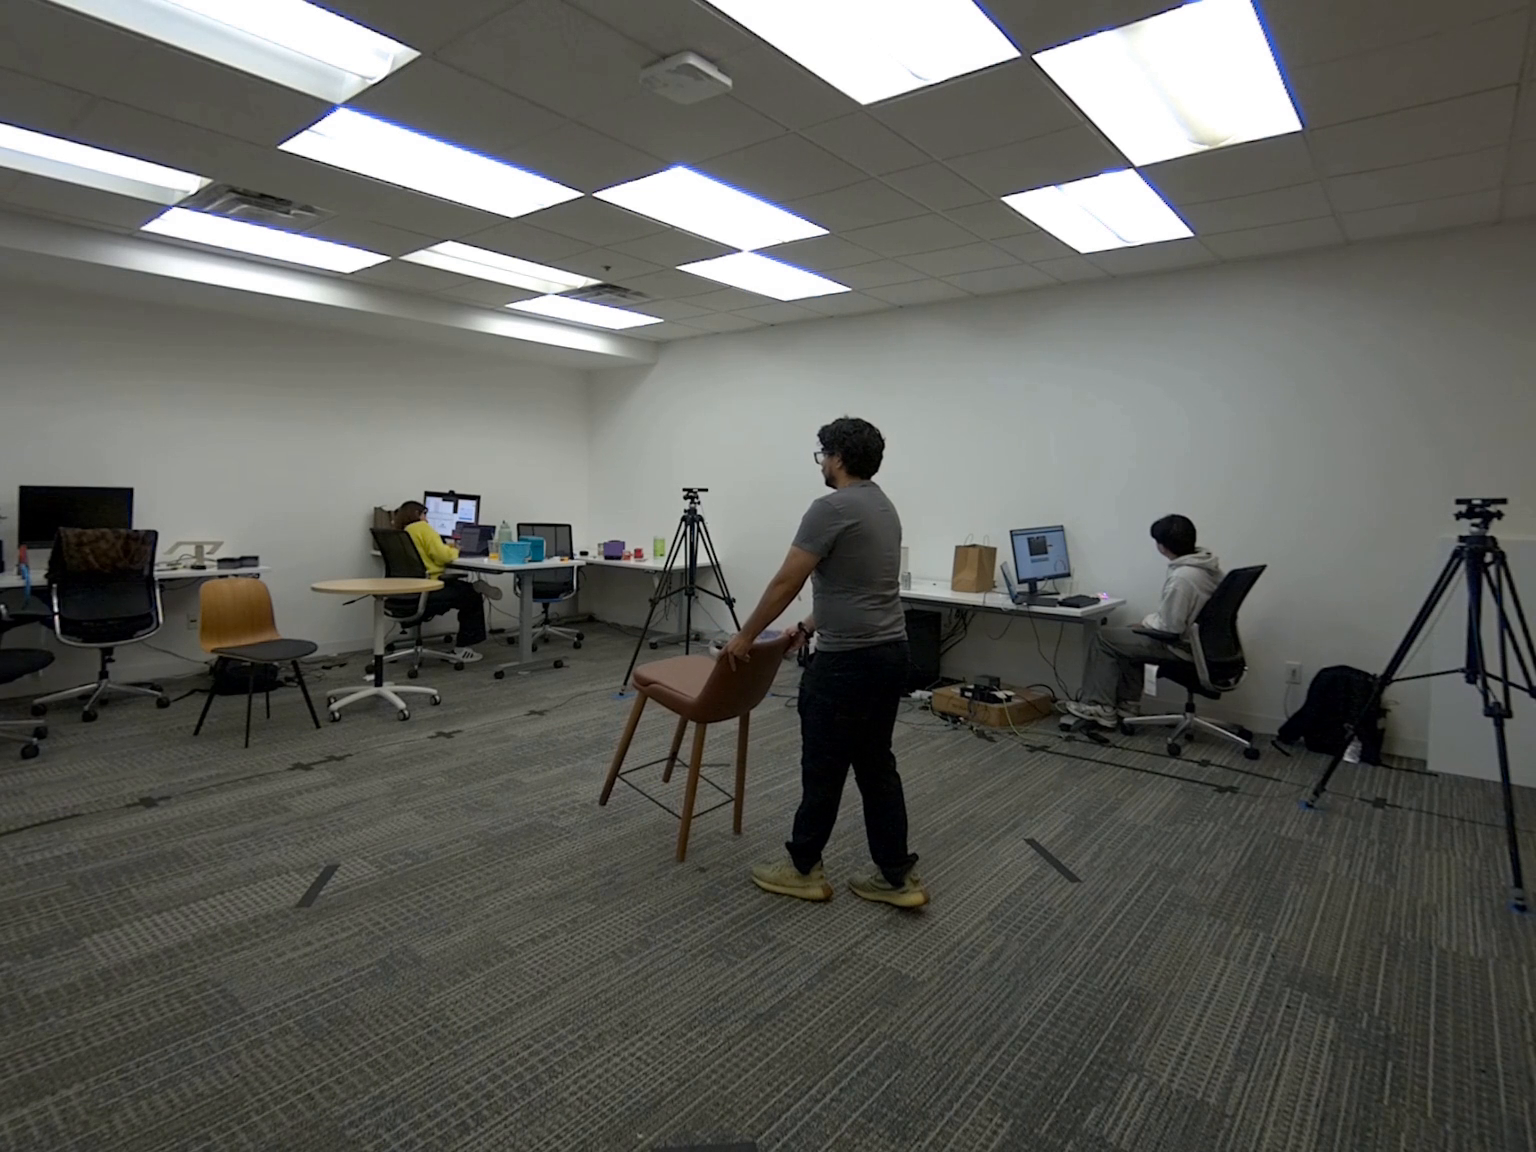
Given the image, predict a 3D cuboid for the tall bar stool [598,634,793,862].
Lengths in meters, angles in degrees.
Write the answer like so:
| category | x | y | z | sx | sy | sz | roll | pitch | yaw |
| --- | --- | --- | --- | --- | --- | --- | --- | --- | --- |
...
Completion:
| category | x | y | z | sx | sy | sz | roll | pitch | yaw |
| --- | --- | --- | --- | --- | --- | --- | --- | --- | --- |
| tall bar stool | -0.293 | 0.568 | 3.347 | 0.486 | 0.882 | 0.443 | 25 | 16 | 34 |
